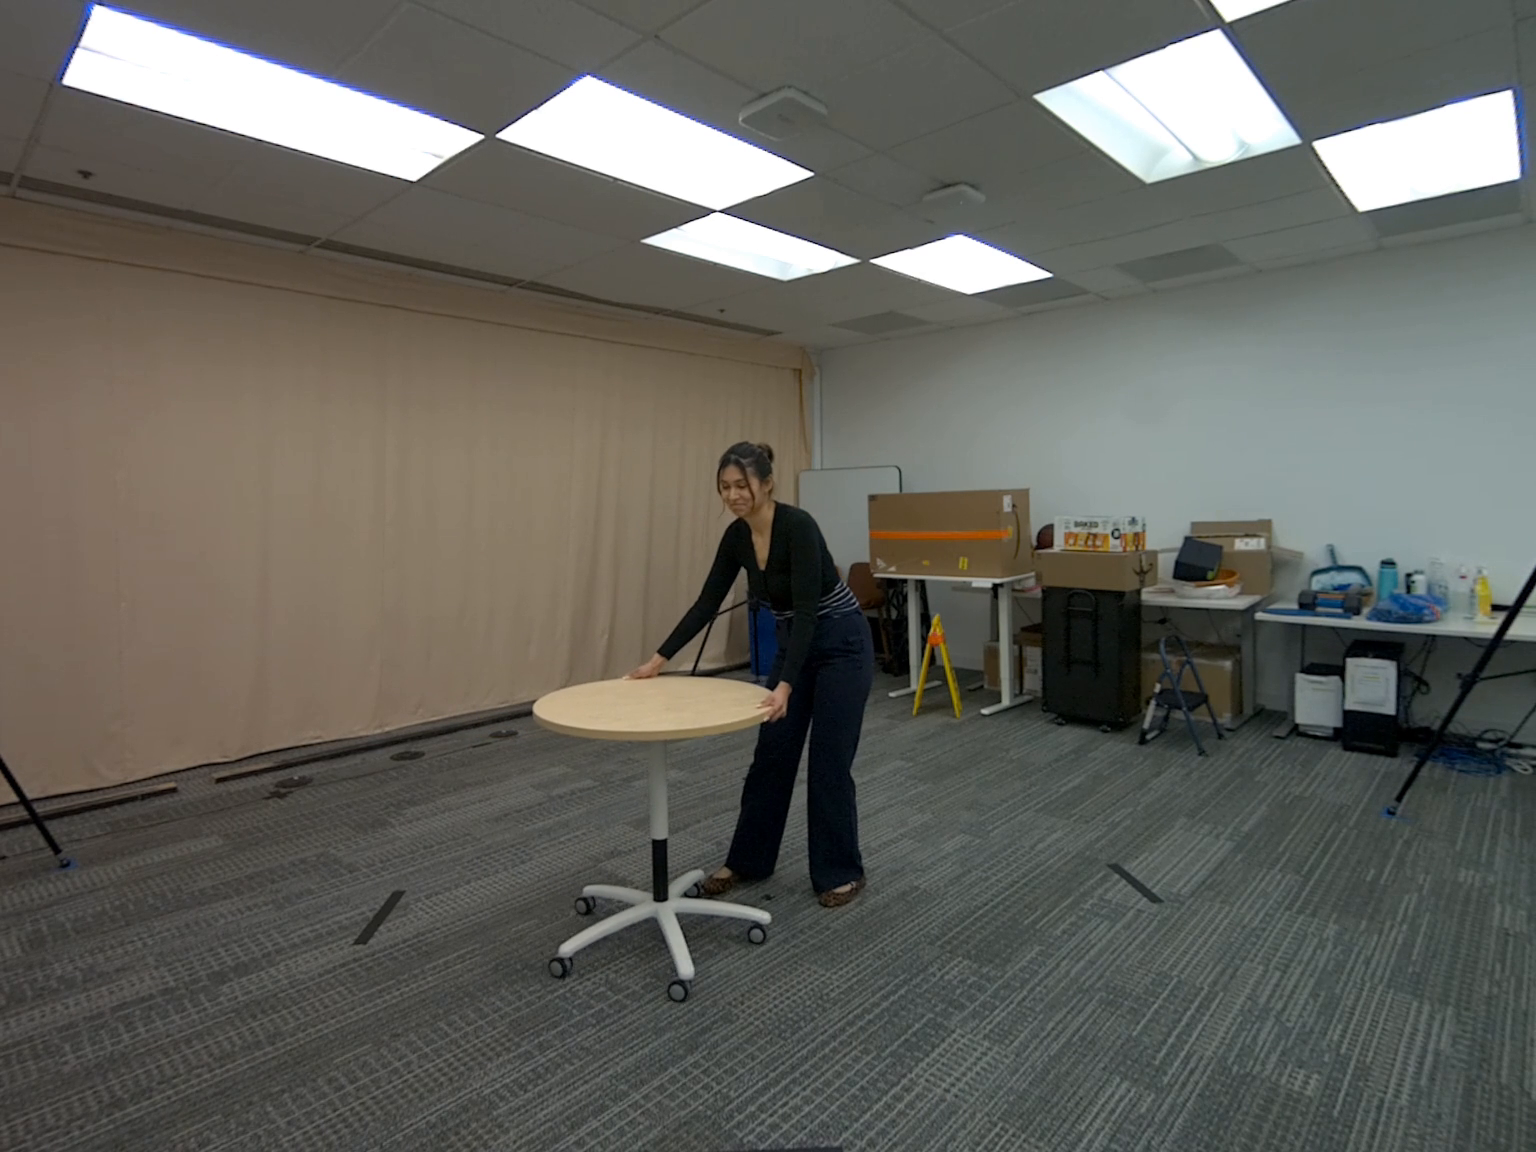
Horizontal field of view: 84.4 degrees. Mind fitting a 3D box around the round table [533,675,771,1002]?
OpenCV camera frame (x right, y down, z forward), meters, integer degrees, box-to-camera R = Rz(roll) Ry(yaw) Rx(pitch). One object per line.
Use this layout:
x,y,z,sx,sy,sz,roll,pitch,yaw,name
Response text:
-0.345,0.784,2.674,0.763,0.792,0.766,-1,4,-2,round table
